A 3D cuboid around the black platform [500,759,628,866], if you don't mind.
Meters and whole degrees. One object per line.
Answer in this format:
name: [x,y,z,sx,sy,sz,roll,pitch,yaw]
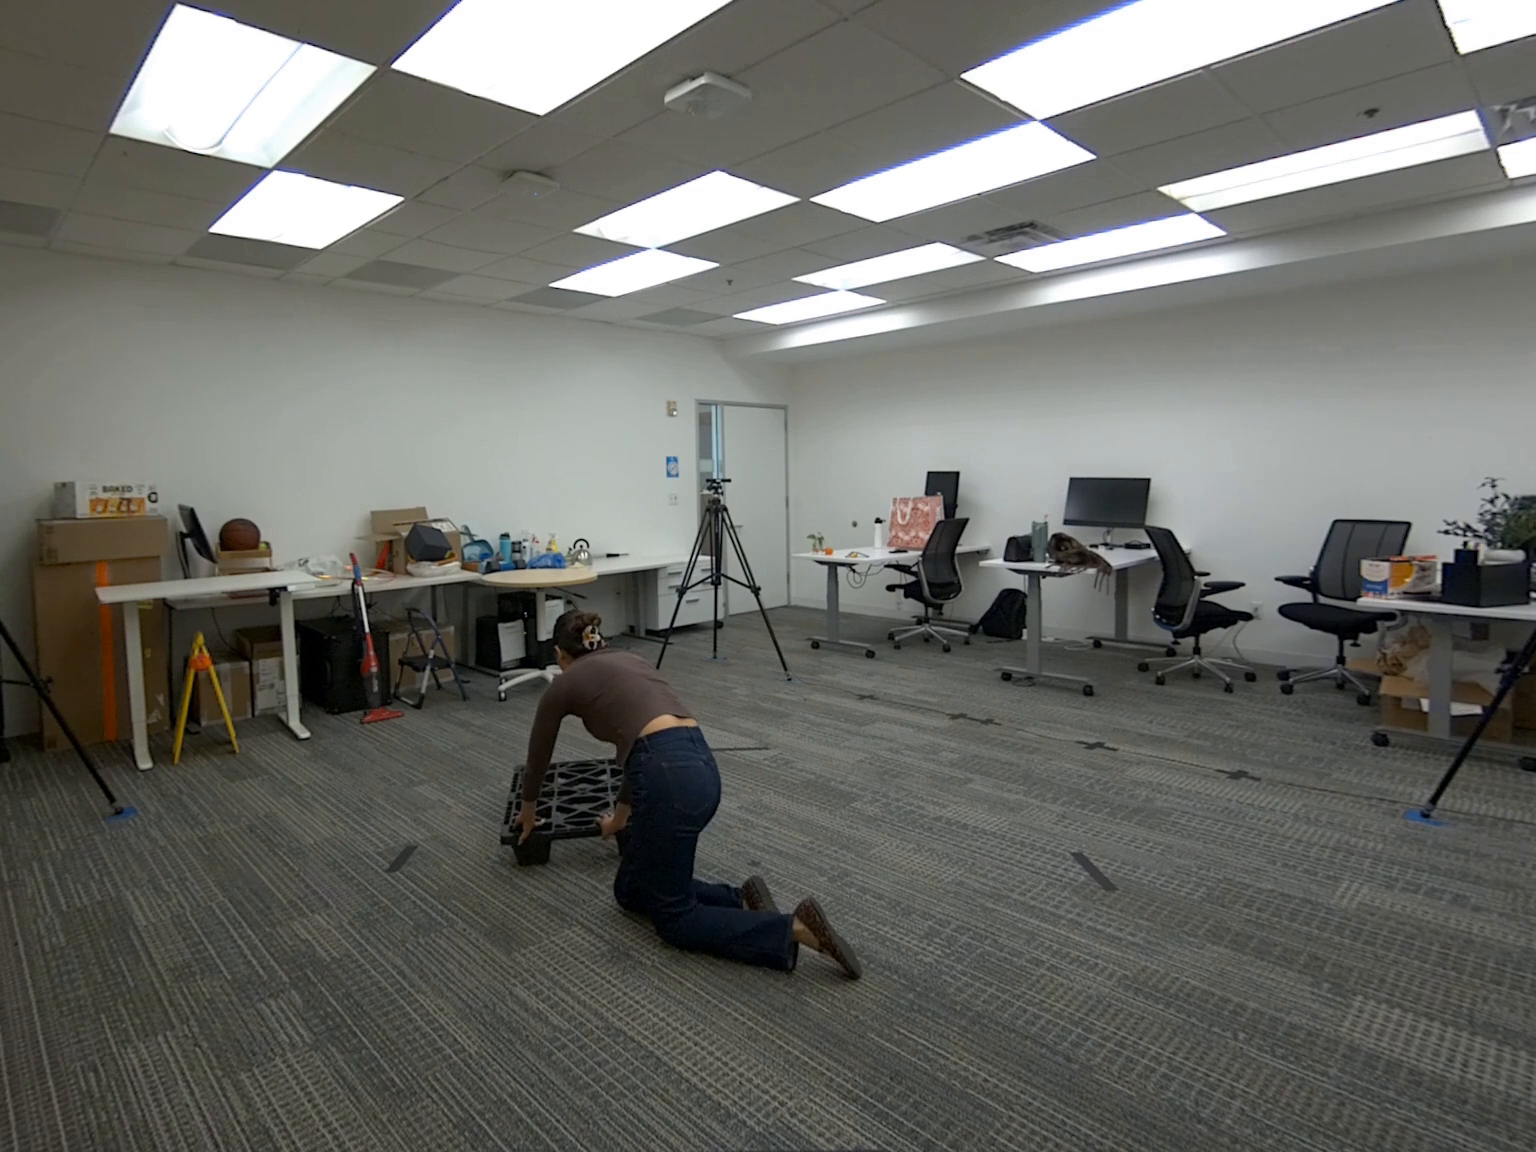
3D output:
black platform: [-0.761,0.942,3.503,0.599,0.143,0.817,-4,6,-11]
